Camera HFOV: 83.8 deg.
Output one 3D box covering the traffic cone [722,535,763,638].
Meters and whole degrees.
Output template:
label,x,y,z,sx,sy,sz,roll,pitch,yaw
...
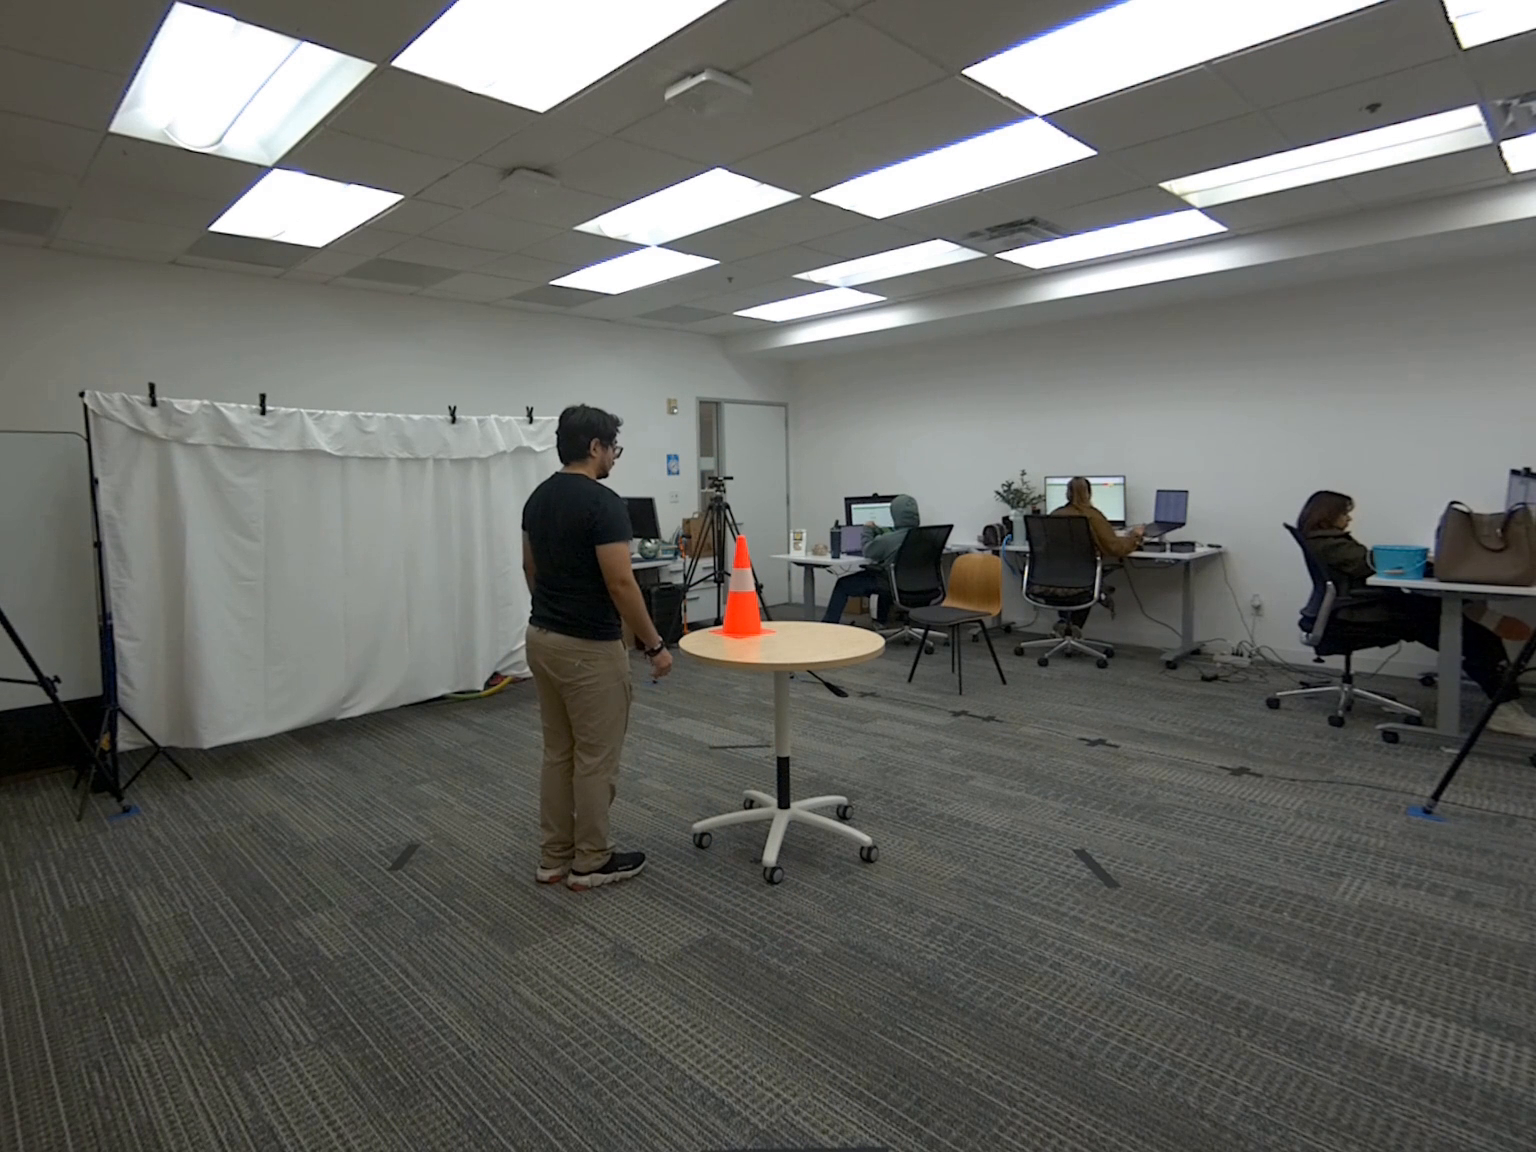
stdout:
label,x,y,z,sx,sy,sz,roll,pitch,yaw
traffic cone,-0.107,0.035,3.360,0.209,0.382,0.200,3,6,33
